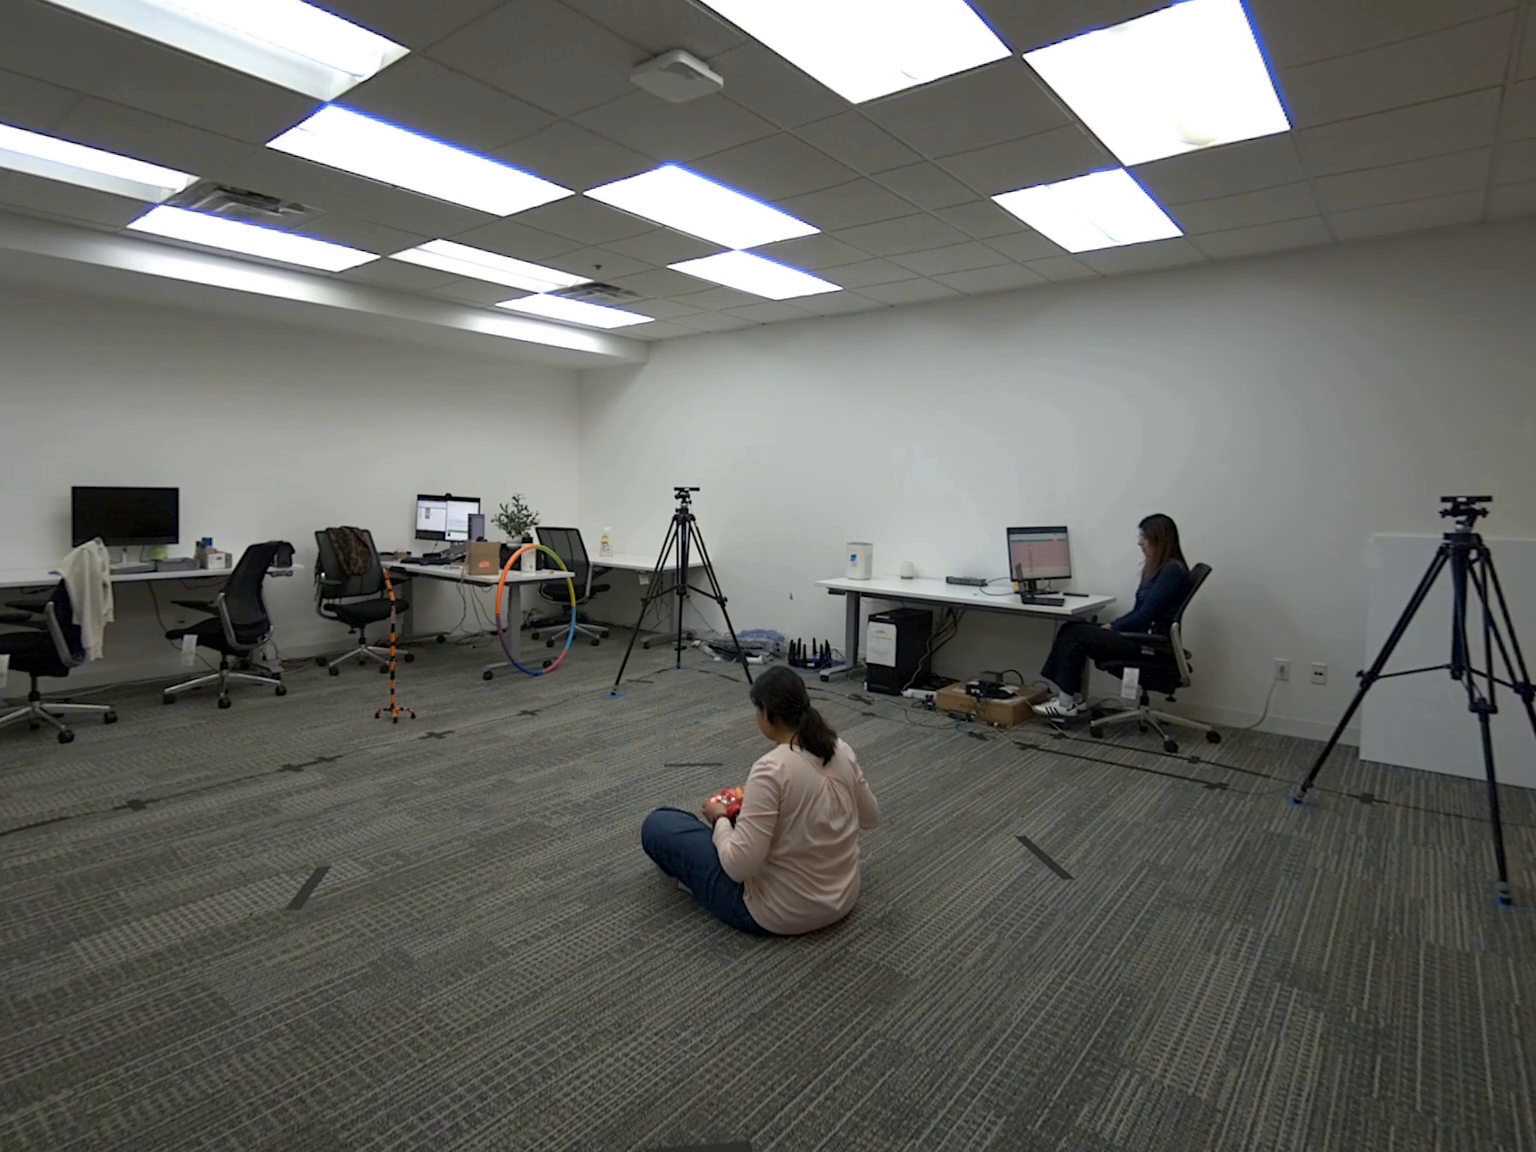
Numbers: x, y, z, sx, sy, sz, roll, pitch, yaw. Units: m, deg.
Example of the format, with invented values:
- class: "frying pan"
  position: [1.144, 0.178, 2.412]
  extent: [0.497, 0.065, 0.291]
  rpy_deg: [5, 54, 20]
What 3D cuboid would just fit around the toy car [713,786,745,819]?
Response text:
- class: "toy car"
  position: [-0.117, 0.798, 3.013]
  extent: [0.135, 0.083, 0.245]
  rpy_deg: [22, 7, 41]
